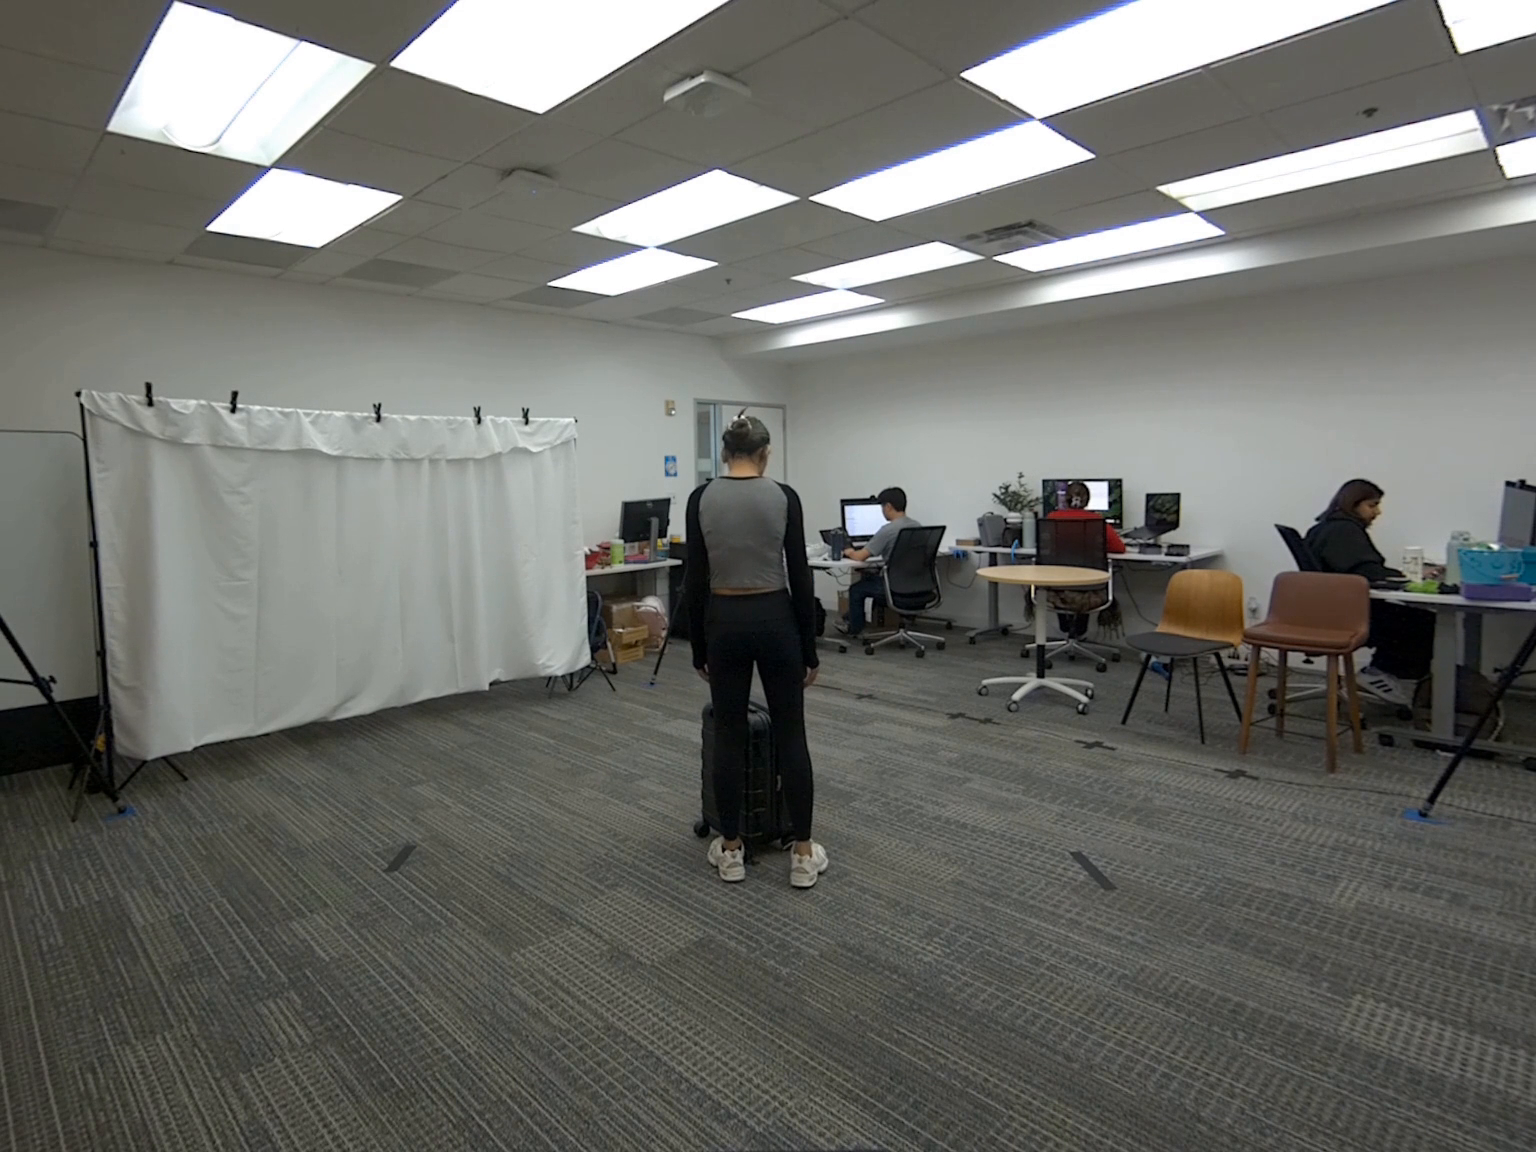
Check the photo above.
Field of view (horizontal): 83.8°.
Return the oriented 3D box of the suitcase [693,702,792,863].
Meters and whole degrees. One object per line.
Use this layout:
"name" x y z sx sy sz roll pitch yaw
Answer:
"suitcase" -0.079 0.747 3.281 0.242 0.548 0.386 -1 3 -35
